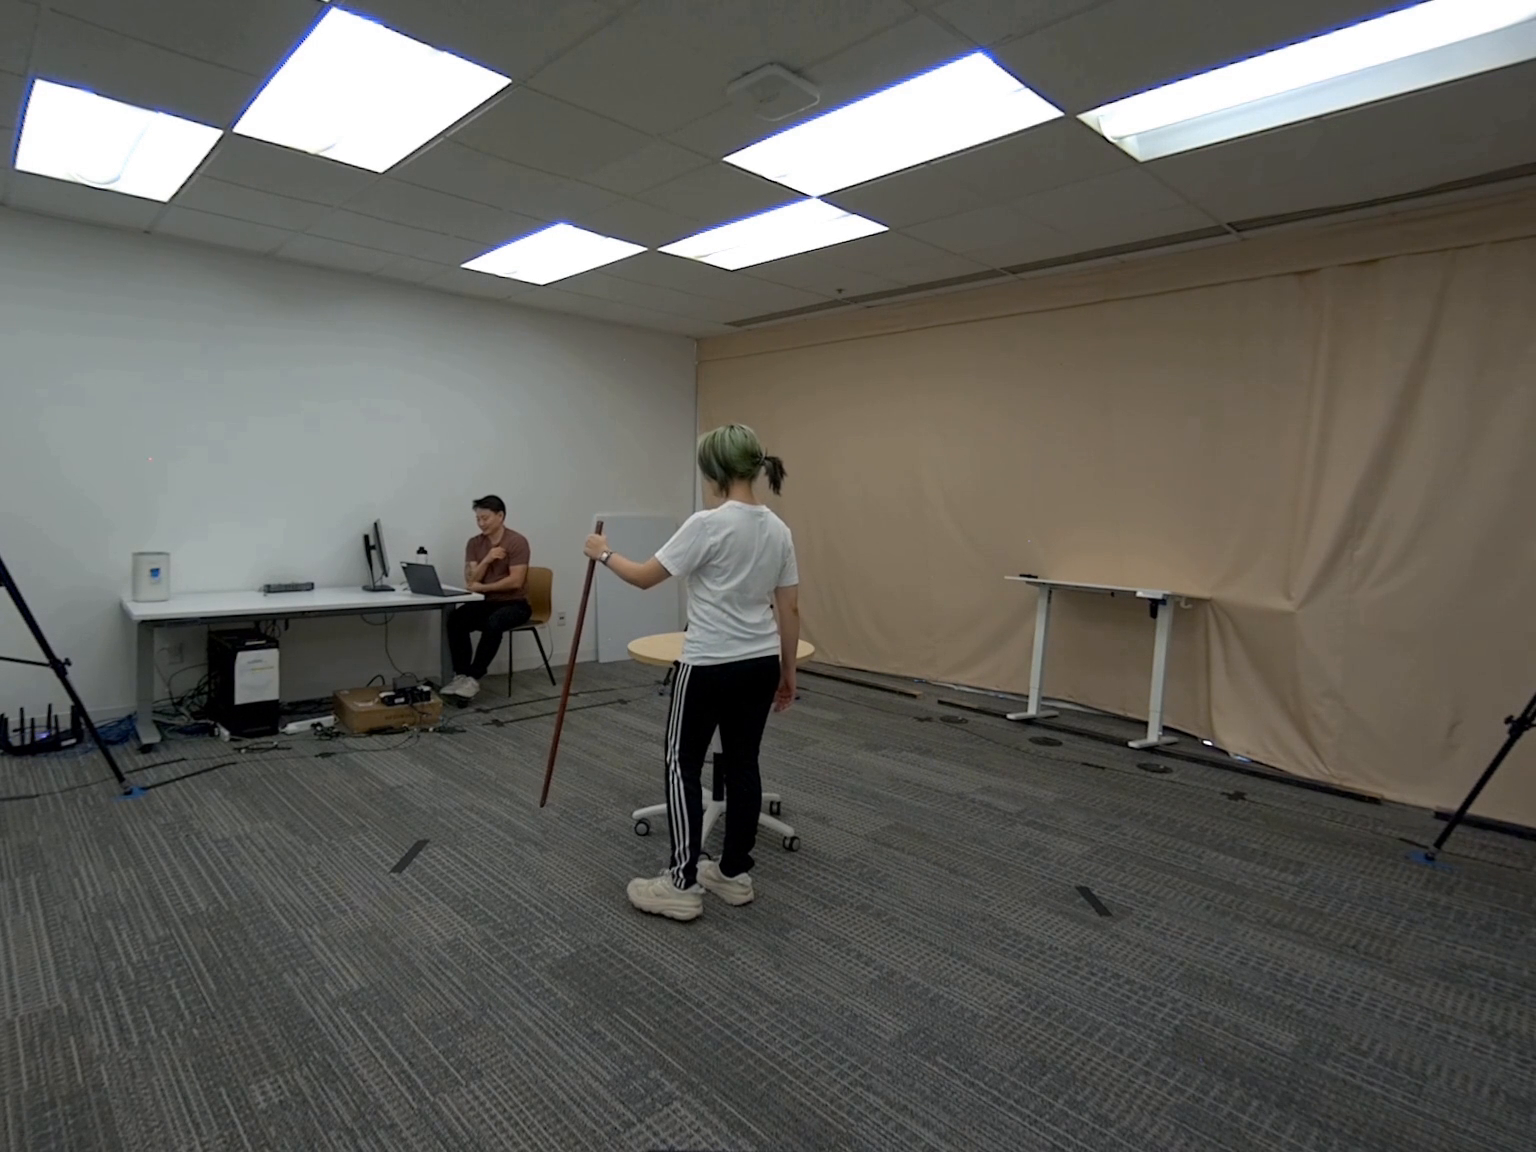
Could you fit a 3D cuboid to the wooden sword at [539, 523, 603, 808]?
[{"bbox_3d":[-0.691,0.328,2.961,0.025,1.026,0.050,7,-3,42],"label":"wooden sword"}]
